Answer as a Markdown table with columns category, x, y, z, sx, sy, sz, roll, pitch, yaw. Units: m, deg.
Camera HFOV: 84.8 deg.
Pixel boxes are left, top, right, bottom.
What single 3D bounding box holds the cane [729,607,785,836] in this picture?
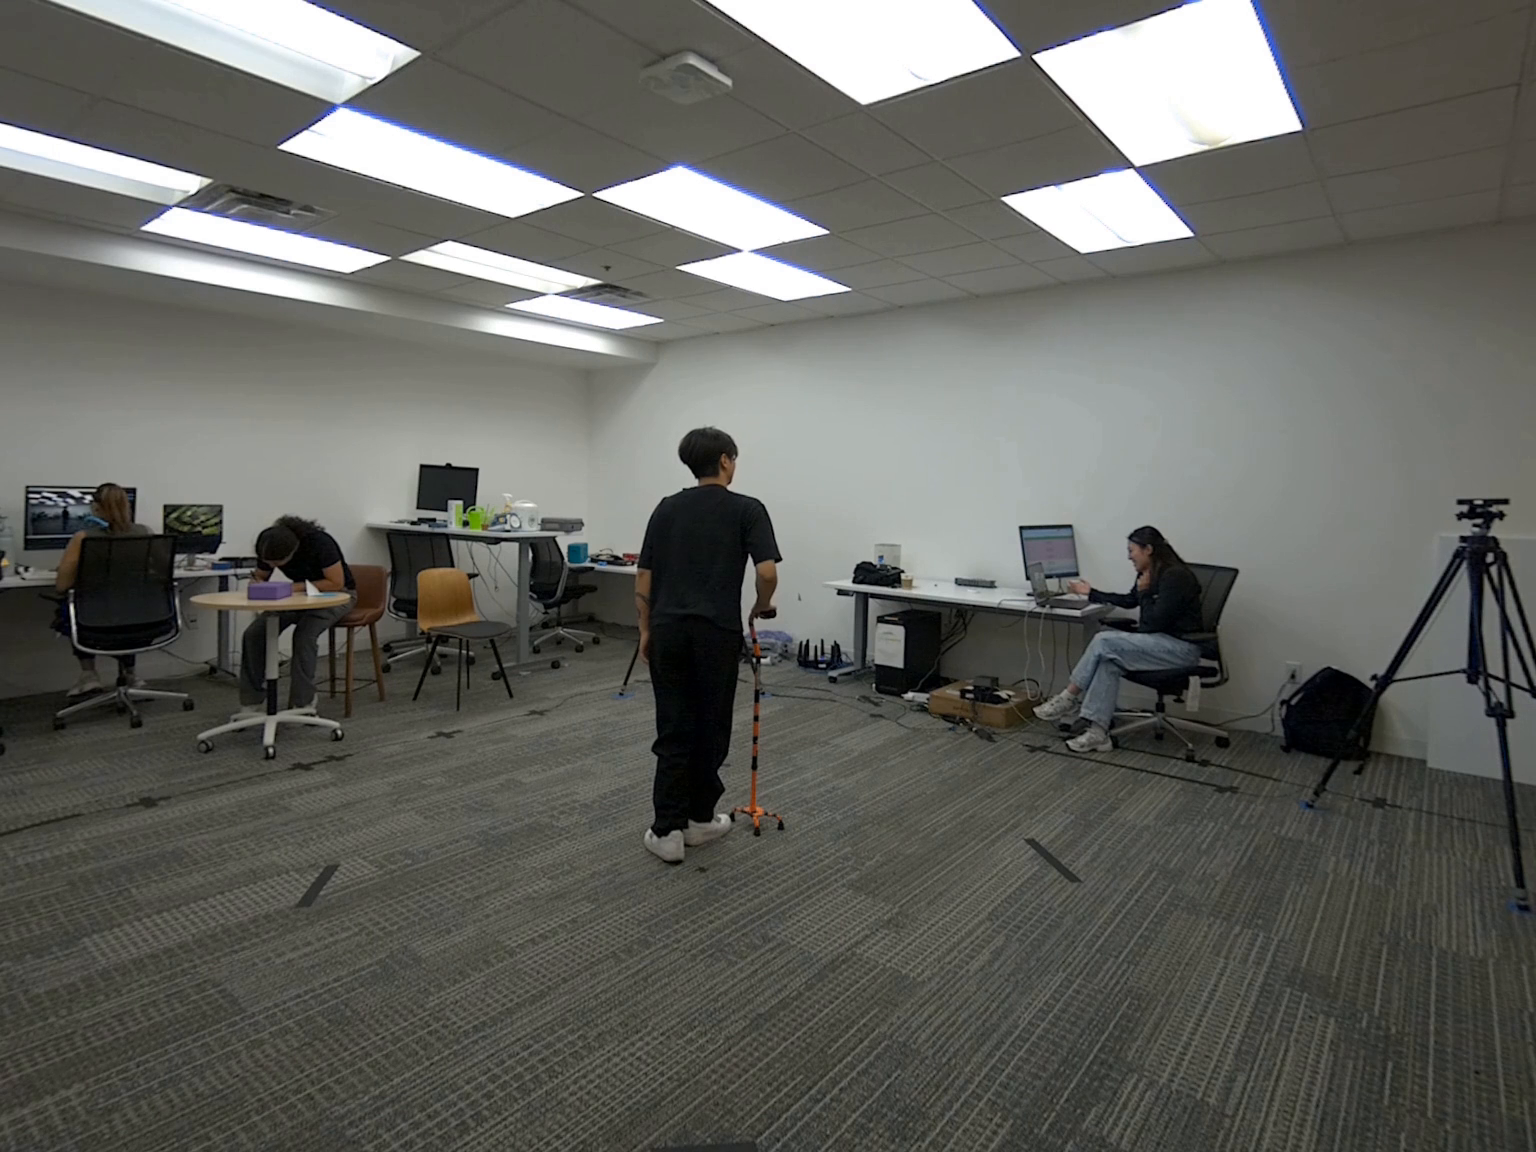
| category | x | y | z | sx | sy | sz | roll | pitch | yaw |
| --- | --- | --- | --- | --- | --- | --- | --- | --- | --- |
| cane | -0.041 | 0.581 | 3.525 | 0.147 | 0.907 | 0.213 | 2 | 1 | -38 |
